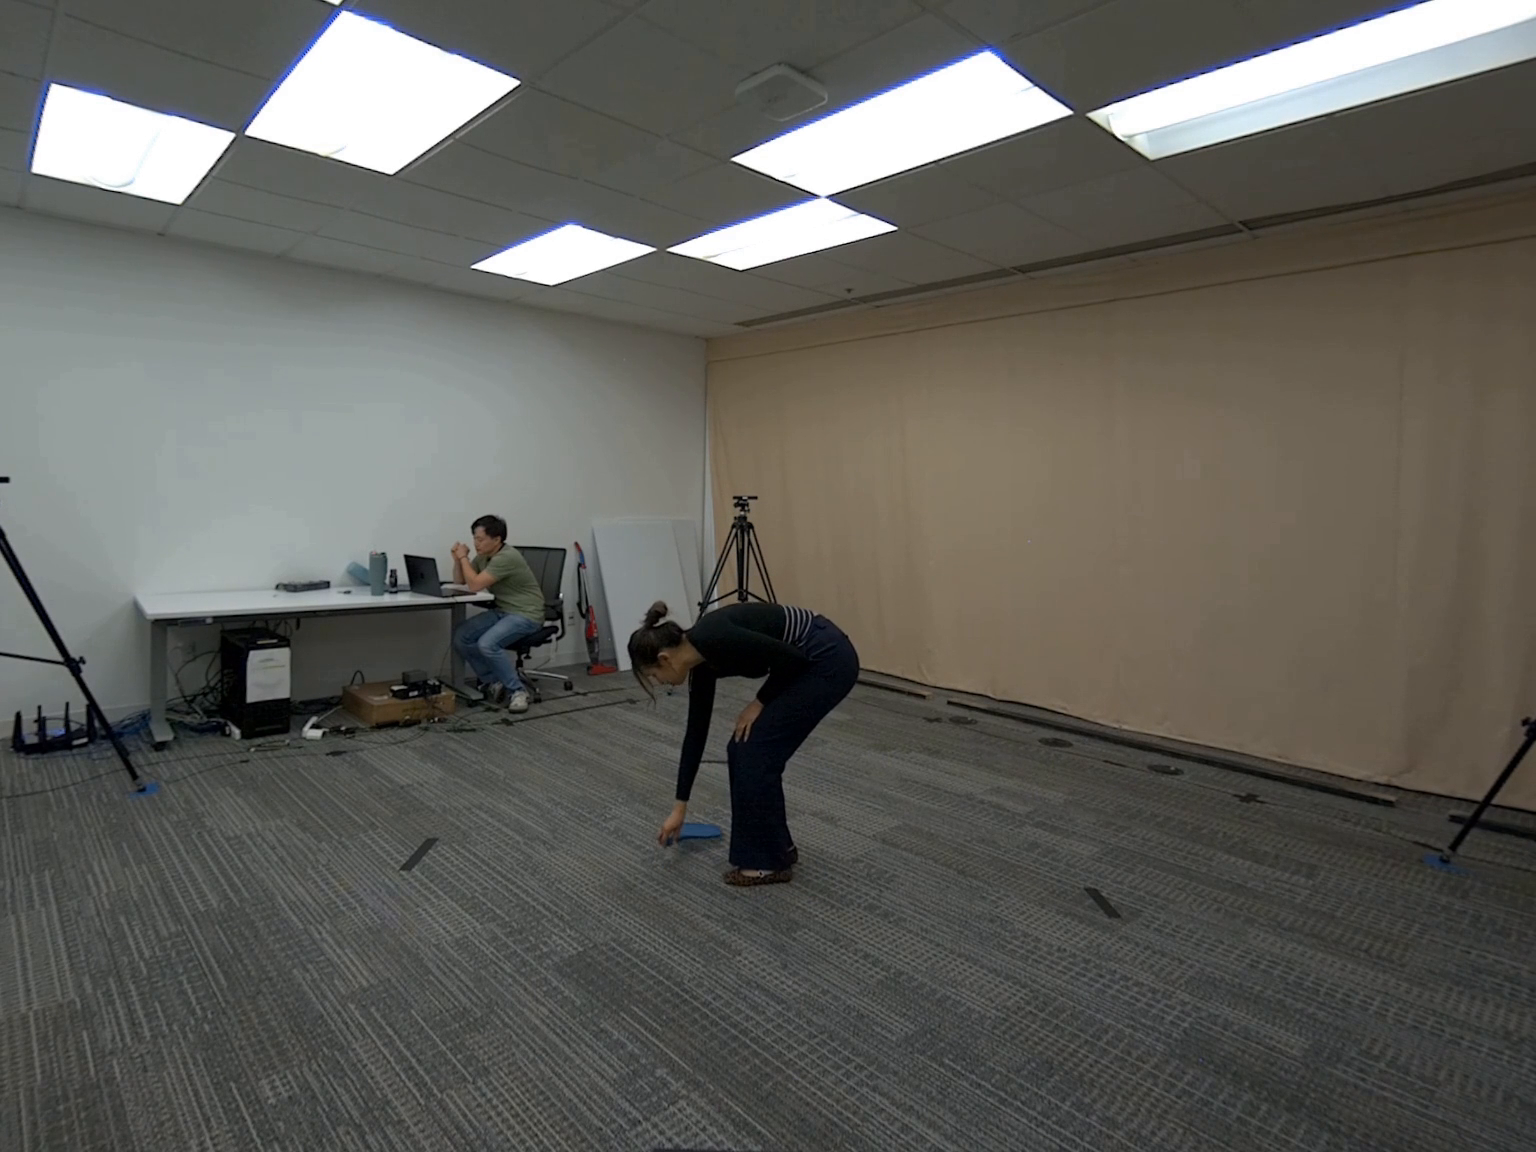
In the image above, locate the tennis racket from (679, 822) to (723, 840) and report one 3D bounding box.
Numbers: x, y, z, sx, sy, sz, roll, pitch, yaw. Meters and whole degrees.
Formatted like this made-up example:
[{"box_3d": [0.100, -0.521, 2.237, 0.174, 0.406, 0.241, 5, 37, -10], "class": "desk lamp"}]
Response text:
[{"box_3d": [-0.319, 1.031, 3.365, 0.217, 0.032, 0.425, 3, -5, 16], "class": "tennis racket"}]
